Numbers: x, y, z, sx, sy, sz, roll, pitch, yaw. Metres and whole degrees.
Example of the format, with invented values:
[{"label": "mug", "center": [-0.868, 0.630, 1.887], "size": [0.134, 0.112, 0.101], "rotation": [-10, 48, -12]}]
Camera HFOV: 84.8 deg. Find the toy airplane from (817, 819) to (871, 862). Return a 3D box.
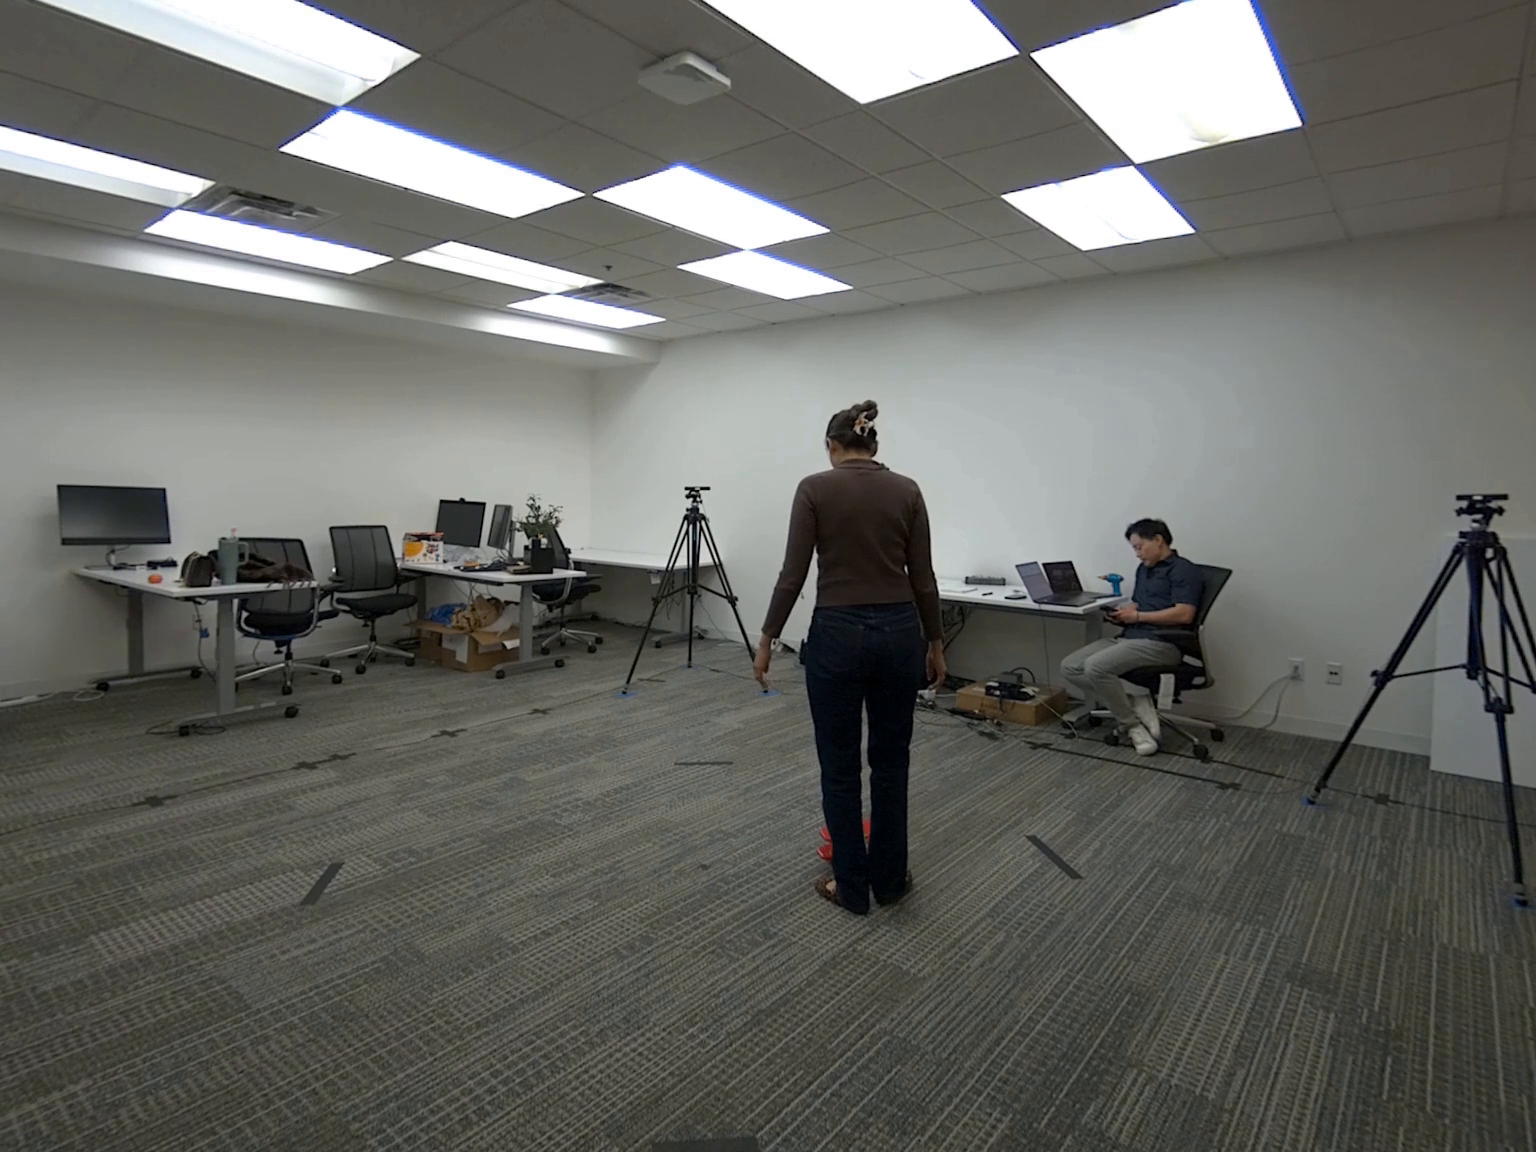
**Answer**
[{"label": "toy airplane", "center": [0.324, 0.999, 3.118], "size": [0.267, 0.156, 0.244], "rotation": [3, 3, 35]}]
